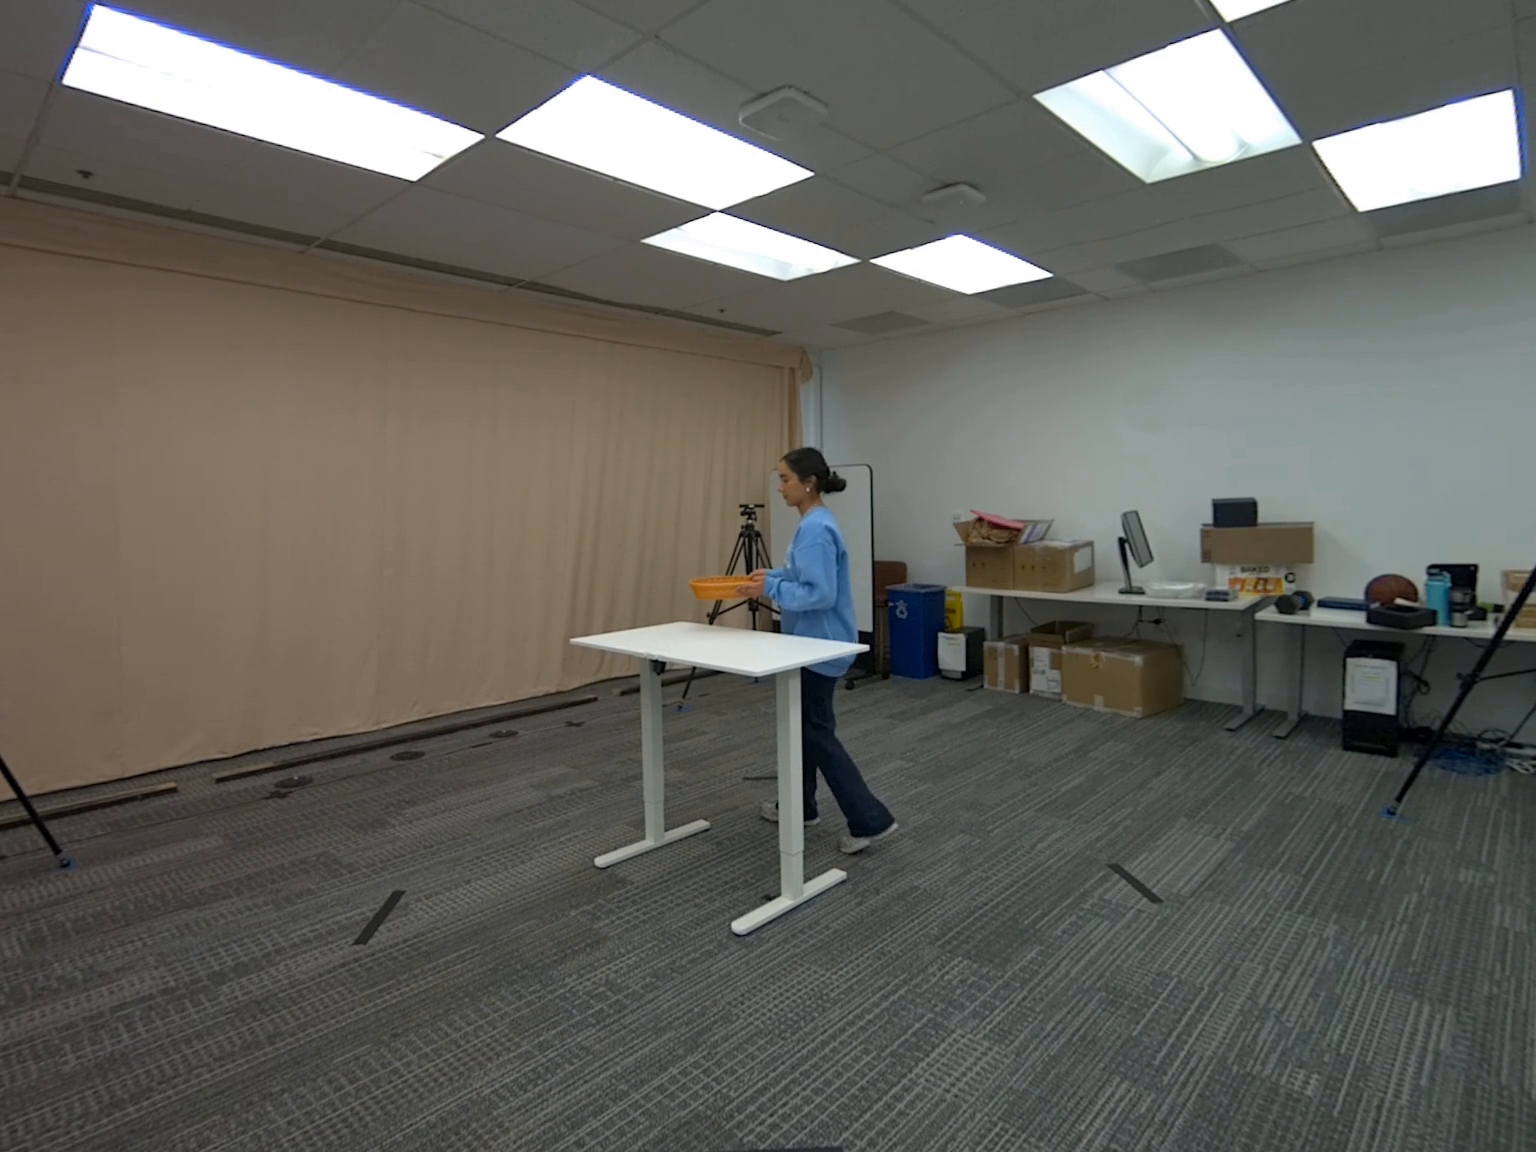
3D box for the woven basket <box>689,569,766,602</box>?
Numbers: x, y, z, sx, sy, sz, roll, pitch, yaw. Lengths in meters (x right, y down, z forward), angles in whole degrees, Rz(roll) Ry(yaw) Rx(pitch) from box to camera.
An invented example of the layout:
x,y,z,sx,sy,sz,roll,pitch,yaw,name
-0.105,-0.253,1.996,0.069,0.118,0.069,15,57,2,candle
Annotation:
x,y,z,sx,sy,sz,roll,pitch,yaw,name
-0.141,0.055,3.518,0.348,0.073,0.255,-3,7,-7,woven basket
